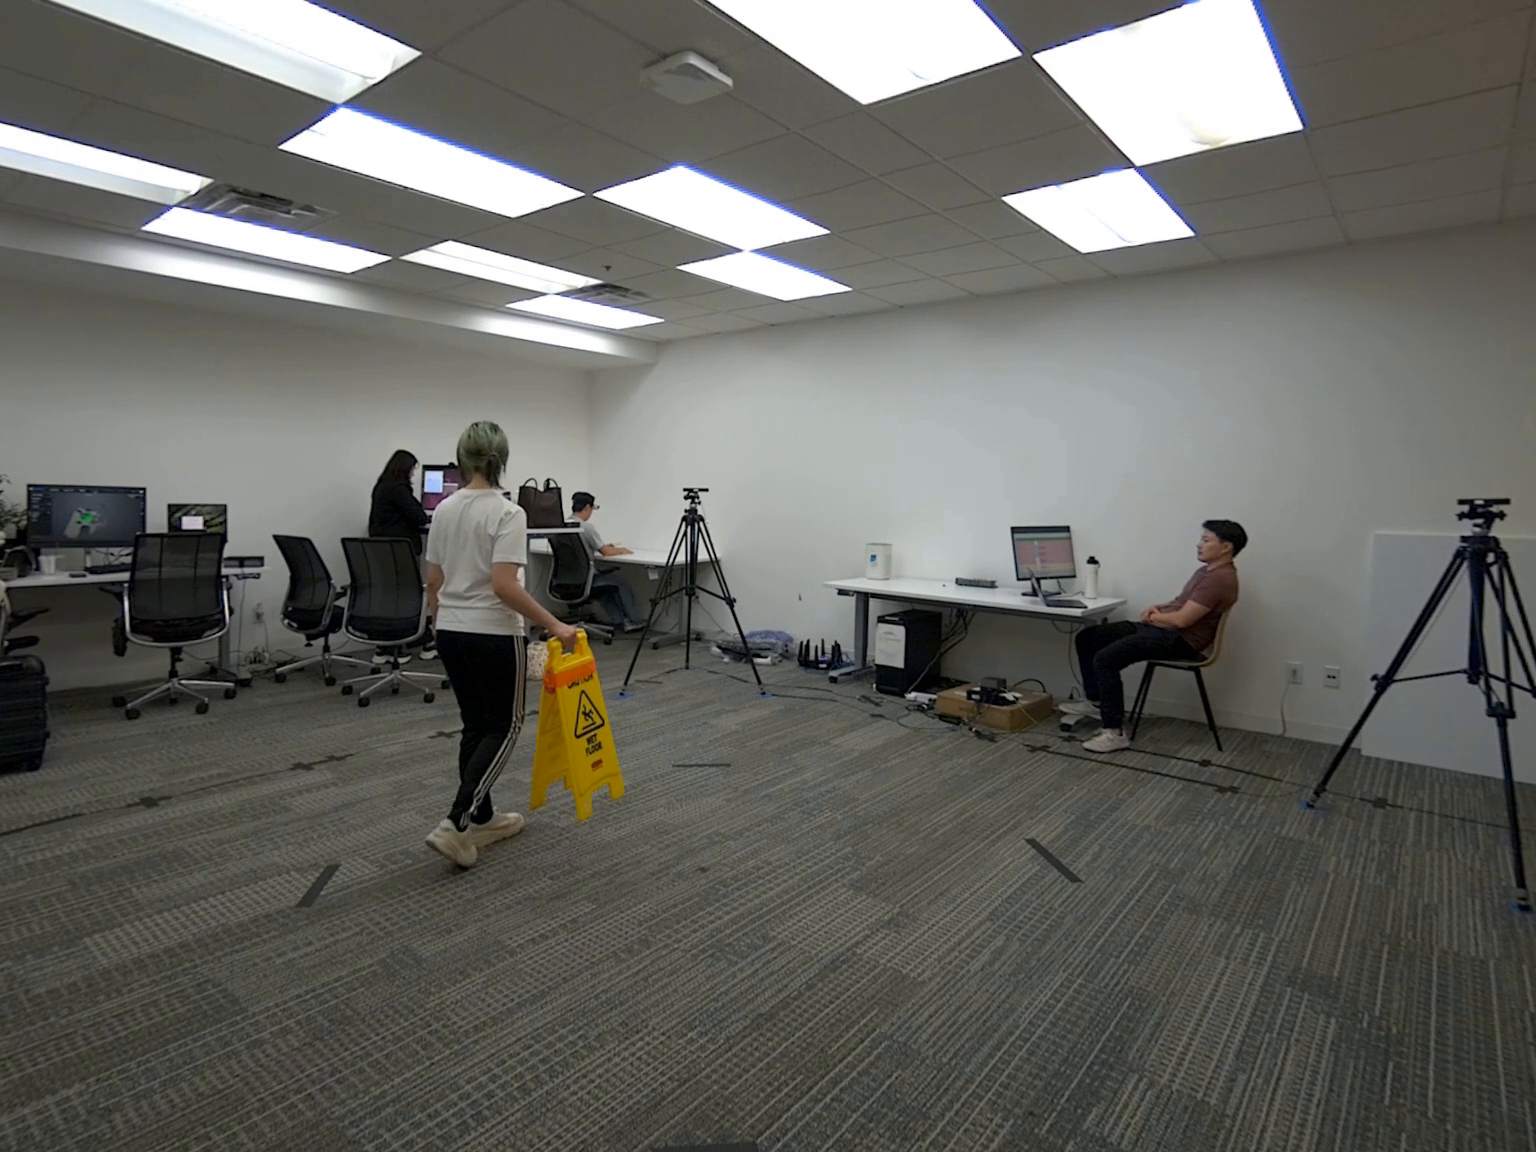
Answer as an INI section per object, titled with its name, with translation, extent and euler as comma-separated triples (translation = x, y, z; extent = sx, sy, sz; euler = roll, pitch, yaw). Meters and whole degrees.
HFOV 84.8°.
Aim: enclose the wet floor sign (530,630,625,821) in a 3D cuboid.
[wet floor sign]
translation = -0.743, 0.538, 3.191
extent = 0.298, 0.642, 0.276
euler = 2, 8, 28
